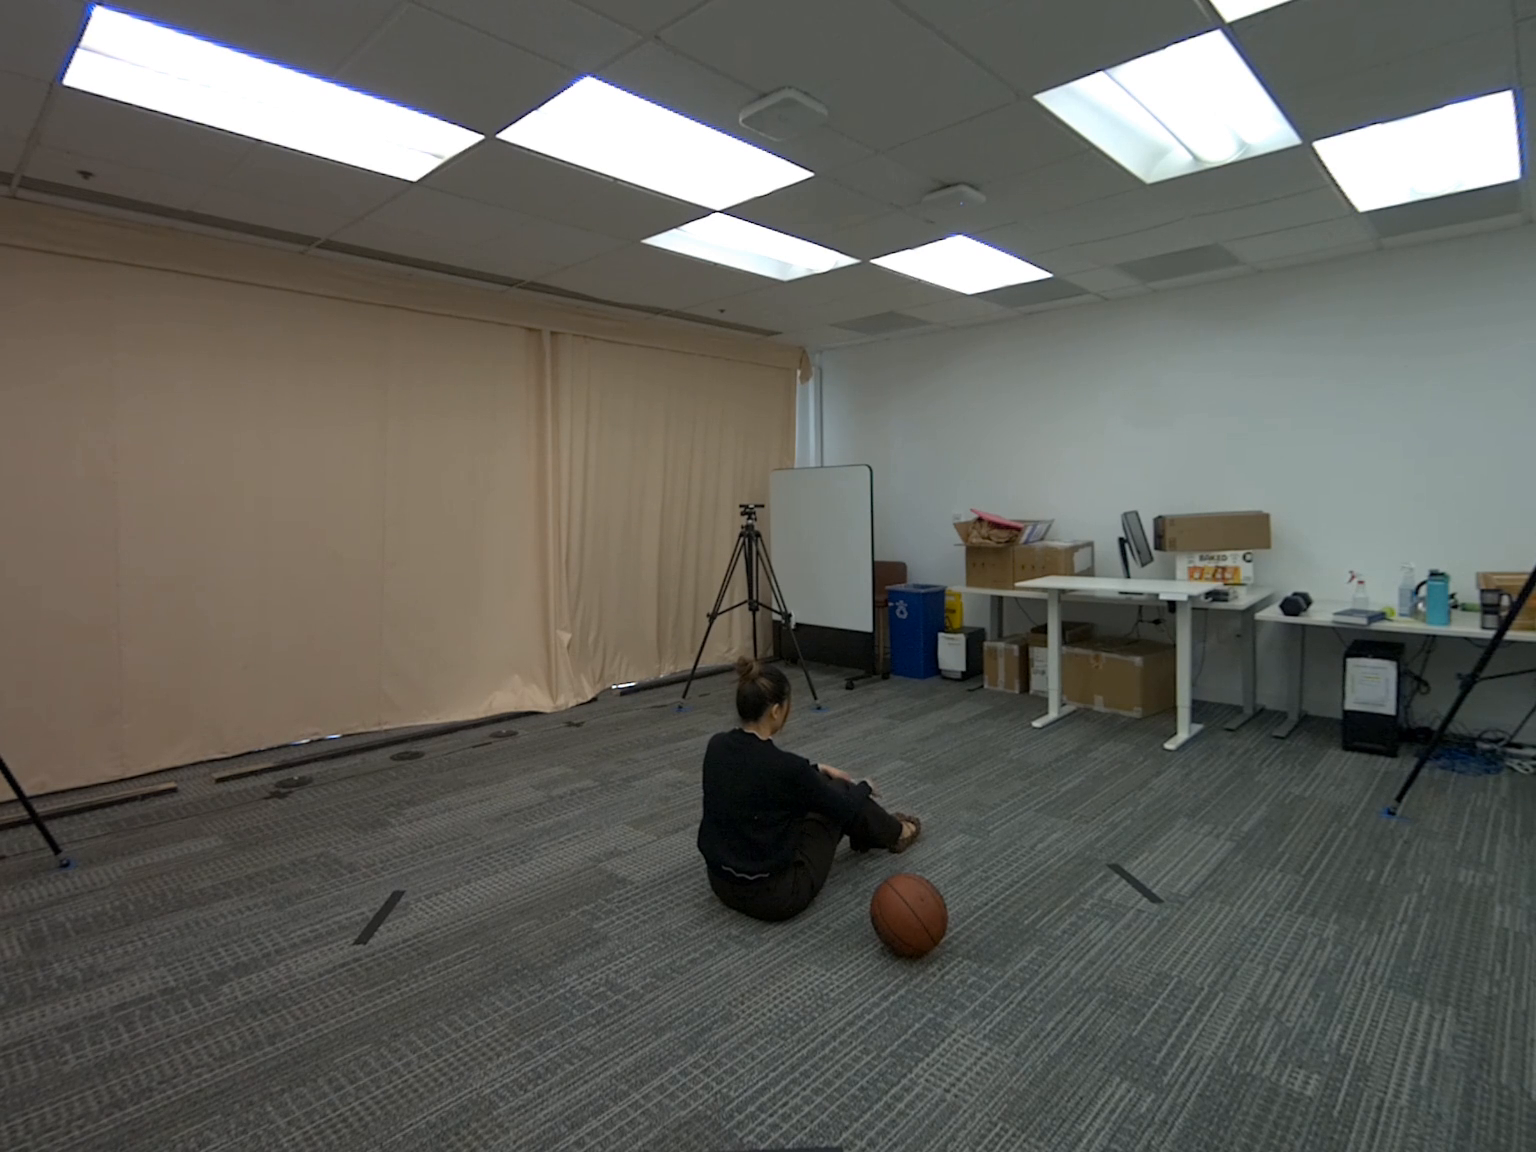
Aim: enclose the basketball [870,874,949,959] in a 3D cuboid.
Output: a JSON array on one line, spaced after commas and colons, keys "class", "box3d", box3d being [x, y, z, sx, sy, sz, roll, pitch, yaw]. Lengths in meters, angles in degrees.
[{"class": "basketball", "box3d": [0.442, 1.042, 2.607, 0.236, 0.235, 0.237, -1, 4, -2]}]
